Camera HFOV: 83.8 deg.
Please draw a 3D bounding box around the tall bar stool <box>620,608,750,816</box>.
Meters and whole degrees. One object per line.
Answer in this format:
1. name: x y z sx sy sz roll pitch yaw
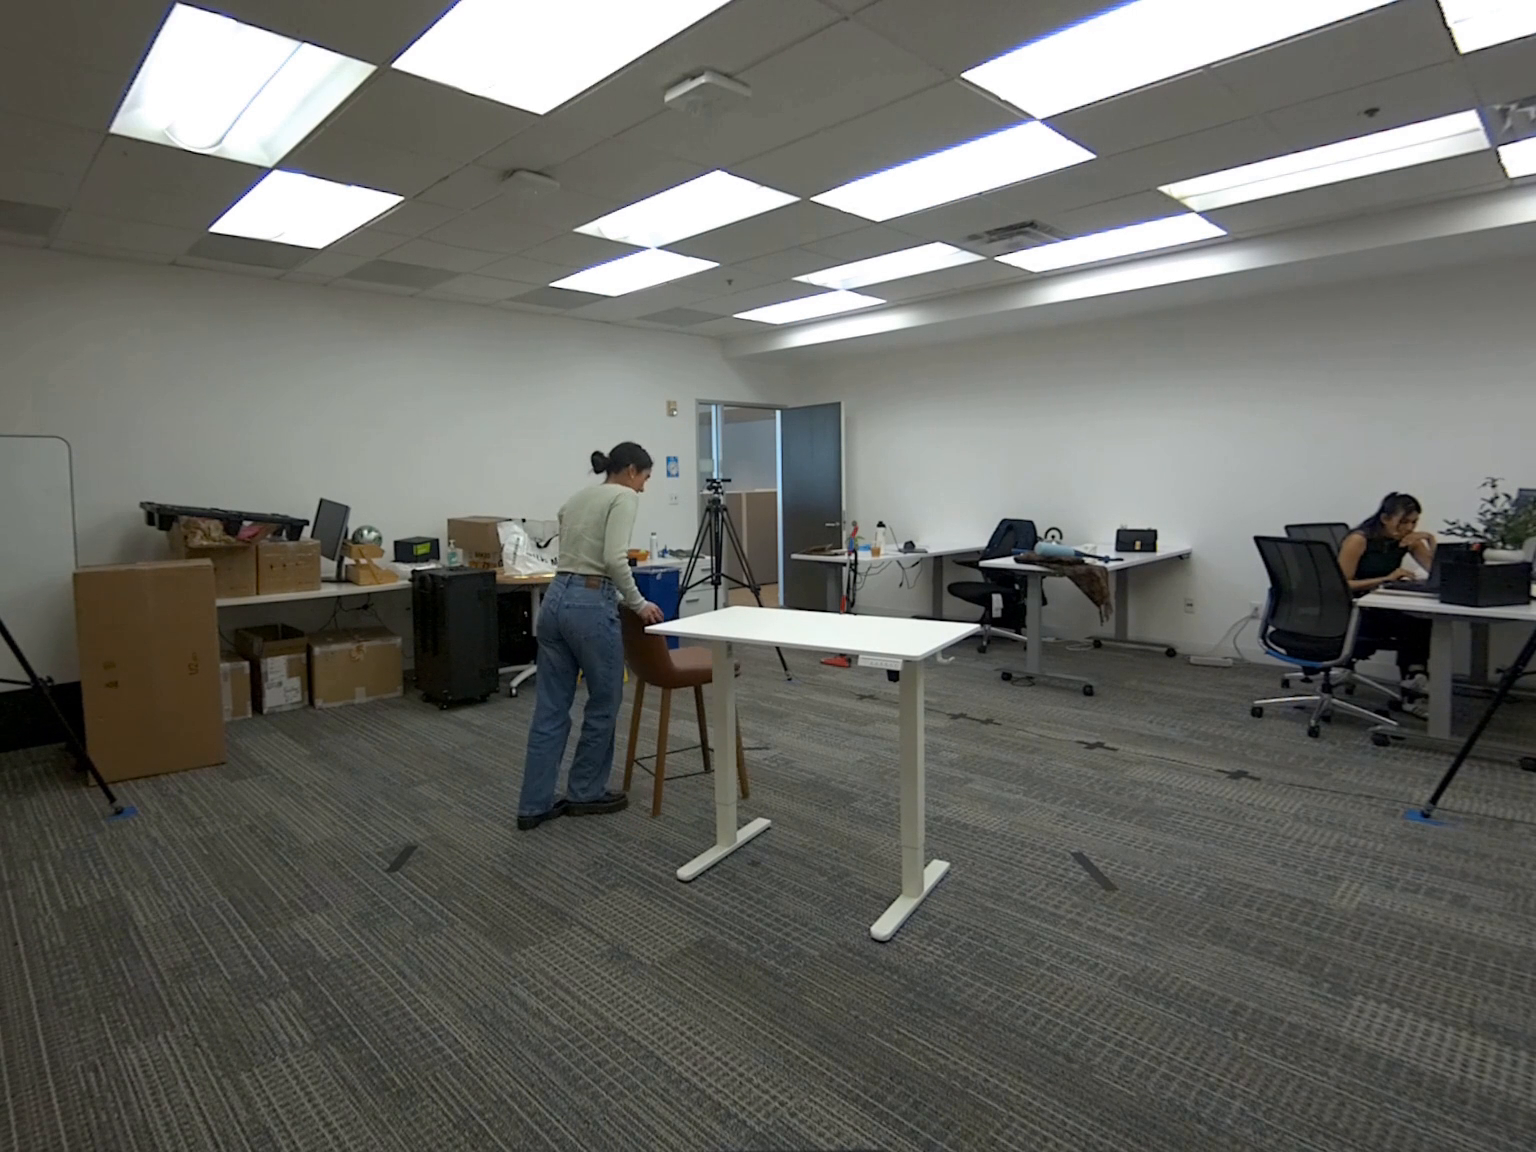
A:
1. tall bar stool: -0.390 0.535 3.794 0.457 0.886 0.468 -5 5 -28
